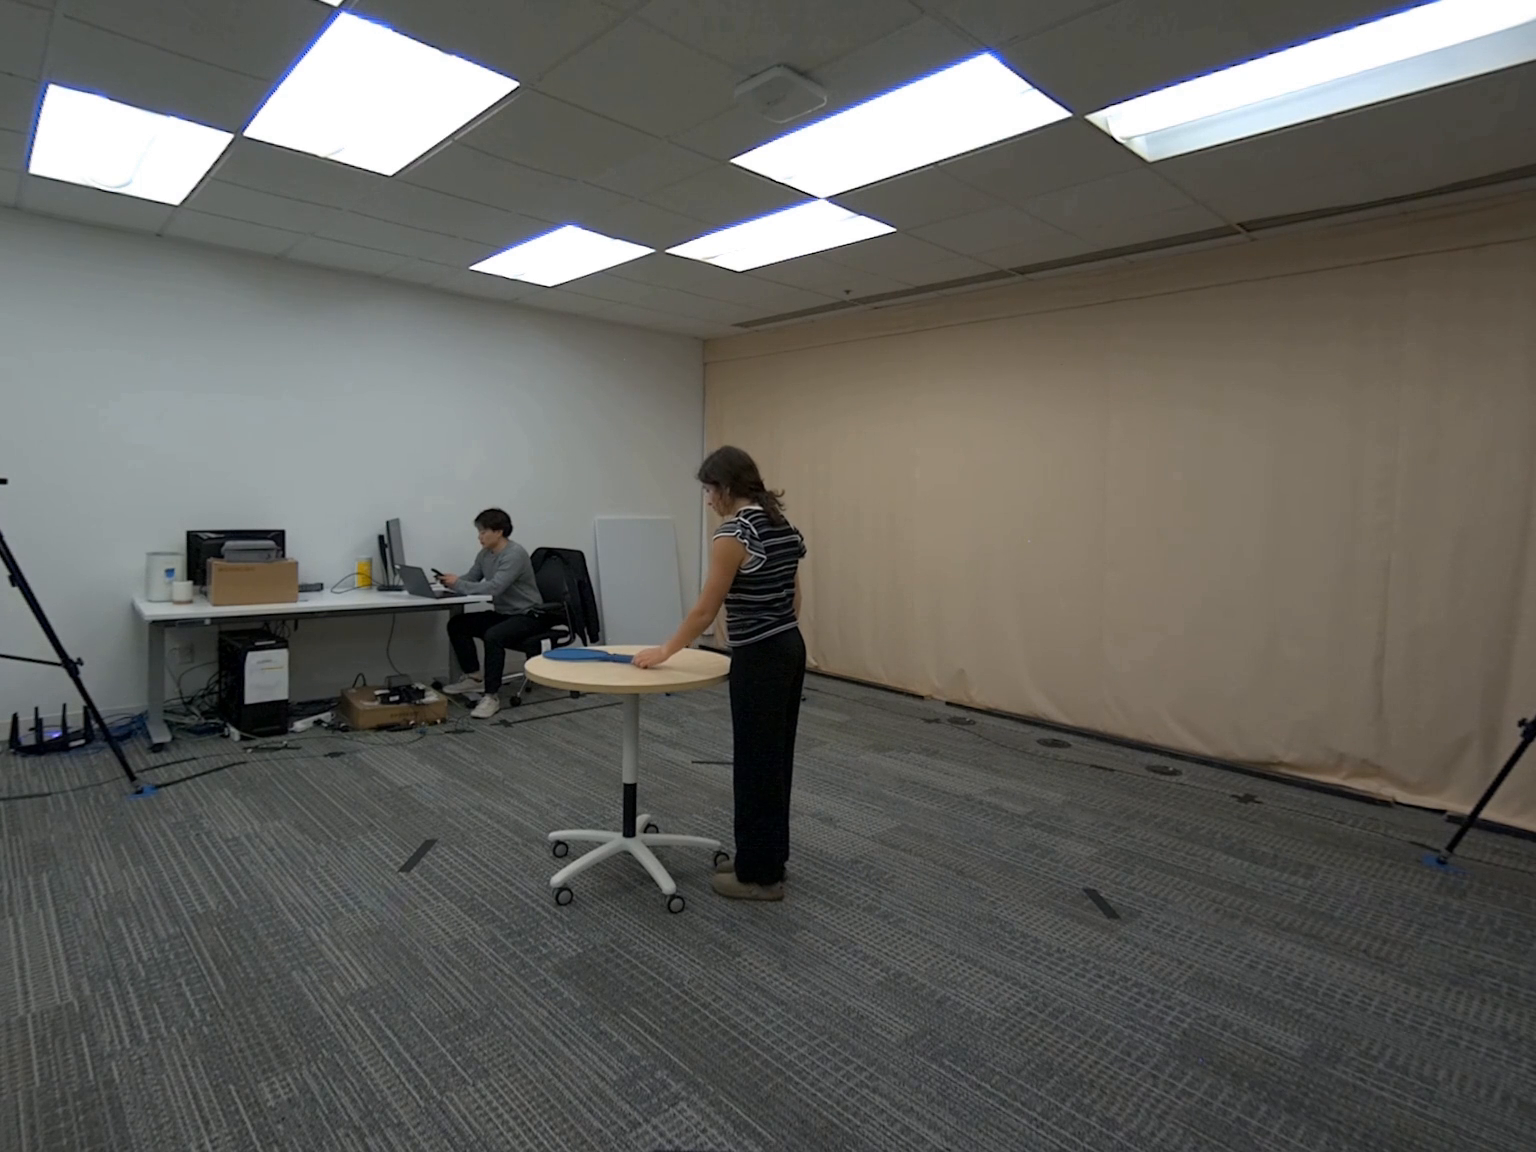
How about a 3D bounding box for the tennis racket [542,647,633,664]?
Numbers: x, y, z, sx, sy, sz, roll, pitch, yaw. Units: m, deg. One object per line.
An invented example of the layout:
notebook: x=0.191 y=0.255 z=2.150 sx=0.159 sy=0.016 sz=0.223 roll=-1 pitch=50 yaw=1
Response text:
tennis racket: x=-0.664 y=0.302 z=3.139 sx=0.441 sy=0.031 sz=0.210 roll=2 pitch=7 yaw=24
